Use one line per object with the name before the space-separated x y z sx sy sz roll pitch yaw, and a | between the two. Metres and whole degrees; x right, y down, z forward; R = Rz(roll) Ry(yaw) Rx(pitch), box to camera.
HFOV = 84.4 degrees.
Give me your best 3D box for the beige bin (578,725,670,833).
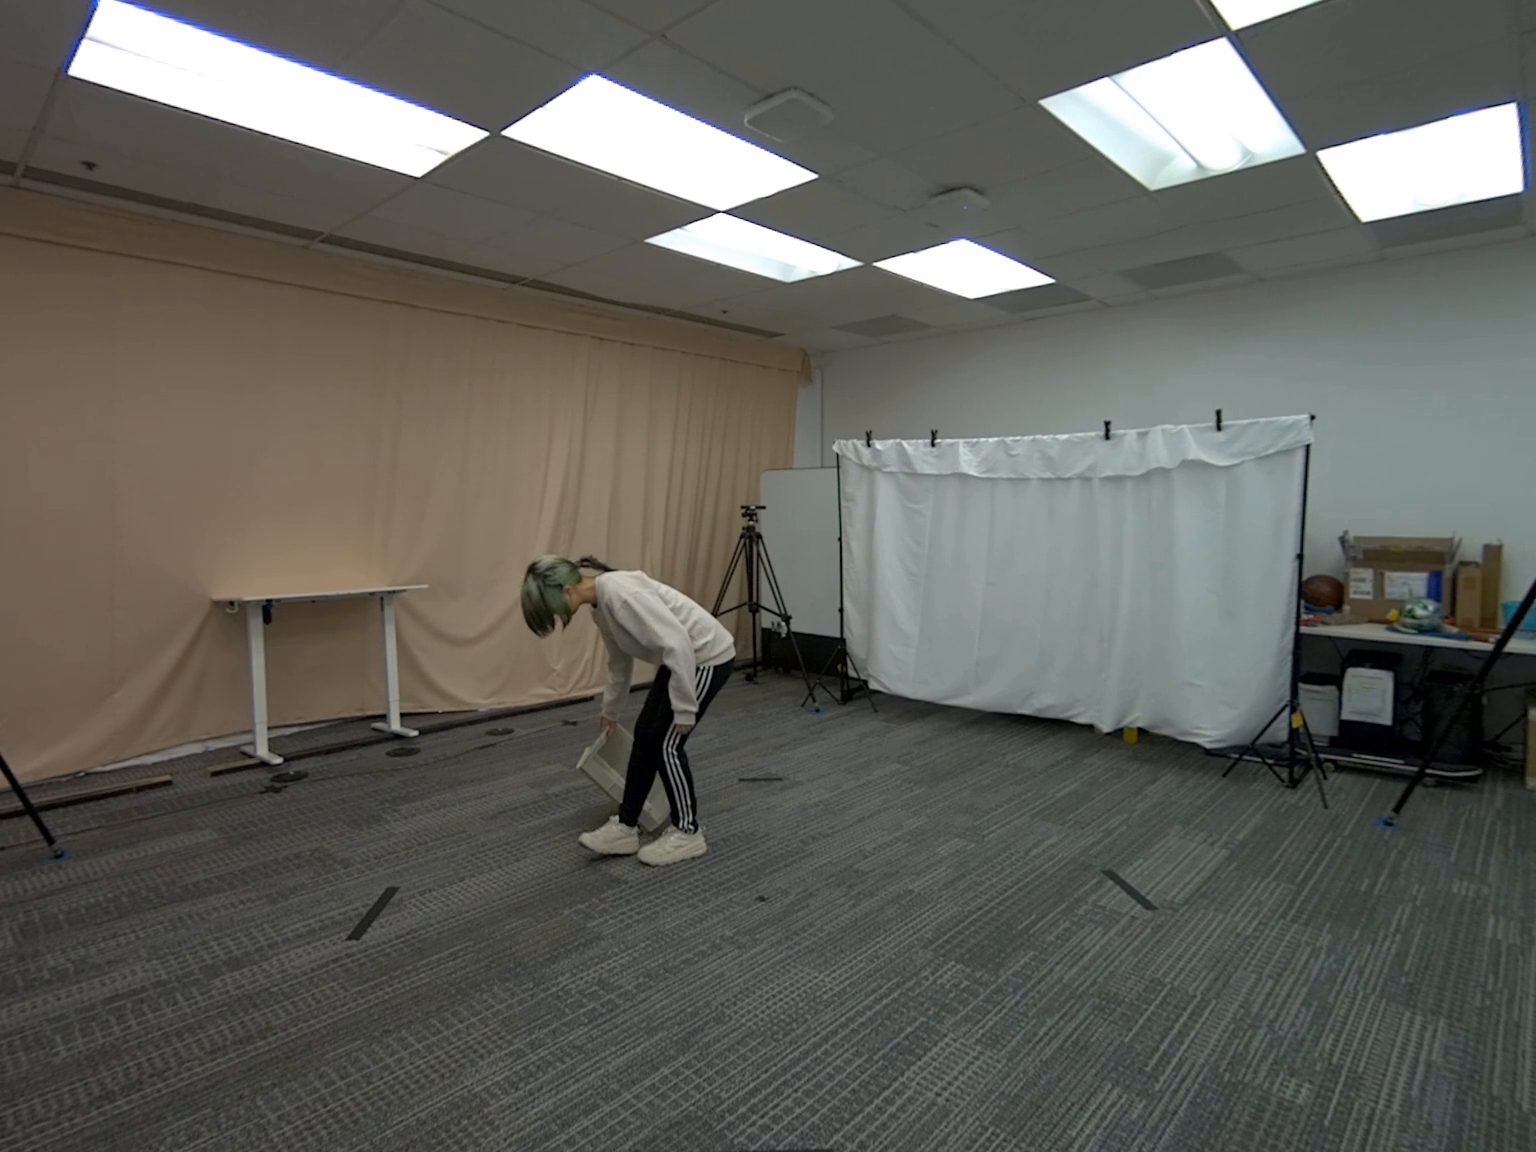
beige bin | -0.615 0.884 3.709 0.421 0.189 0.379 43 -1 -4
